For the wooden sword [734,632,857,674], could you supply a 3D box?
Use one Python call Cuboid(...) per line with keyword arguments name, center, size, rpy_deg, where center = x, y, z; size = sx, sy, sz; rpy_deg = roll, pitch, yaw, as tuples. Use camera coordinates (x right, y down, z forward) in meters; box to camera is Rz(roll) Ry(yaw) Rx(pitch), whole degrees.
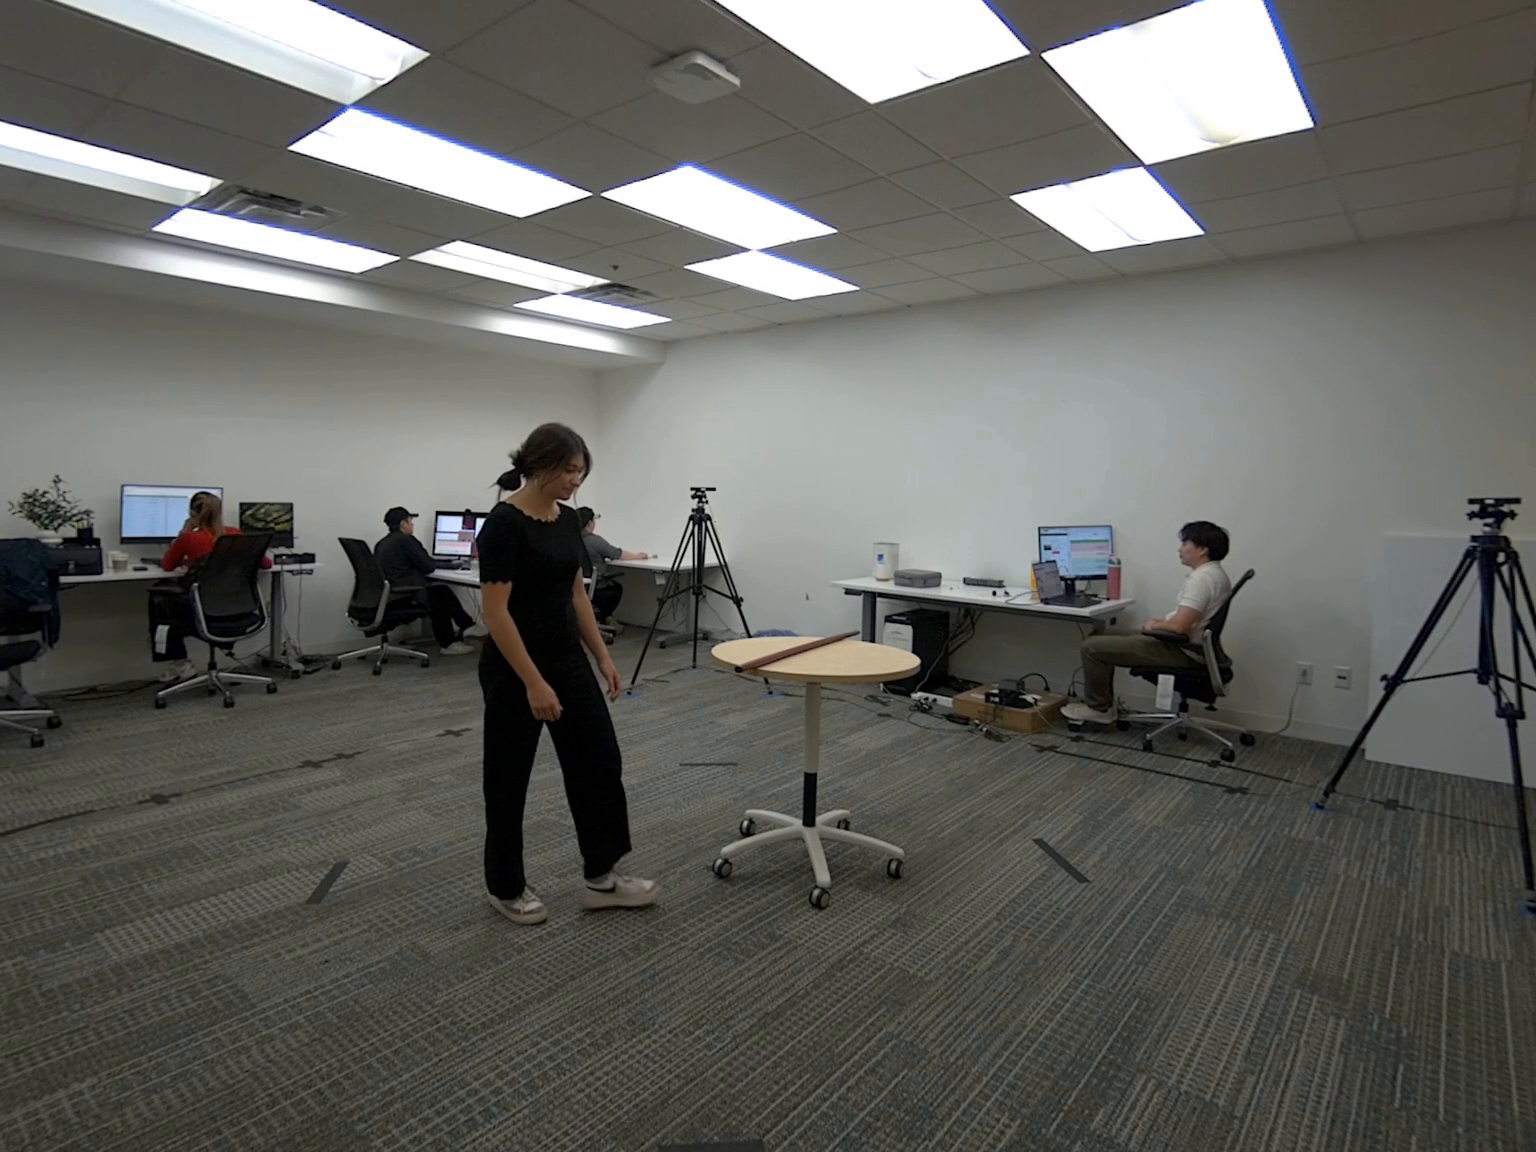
Cuboid(name="wooden sword", center=(0.111, 0.270, 3.187), size=(0.053, 0.024, 0.999), rpy_deg=(13, 9, 27))
